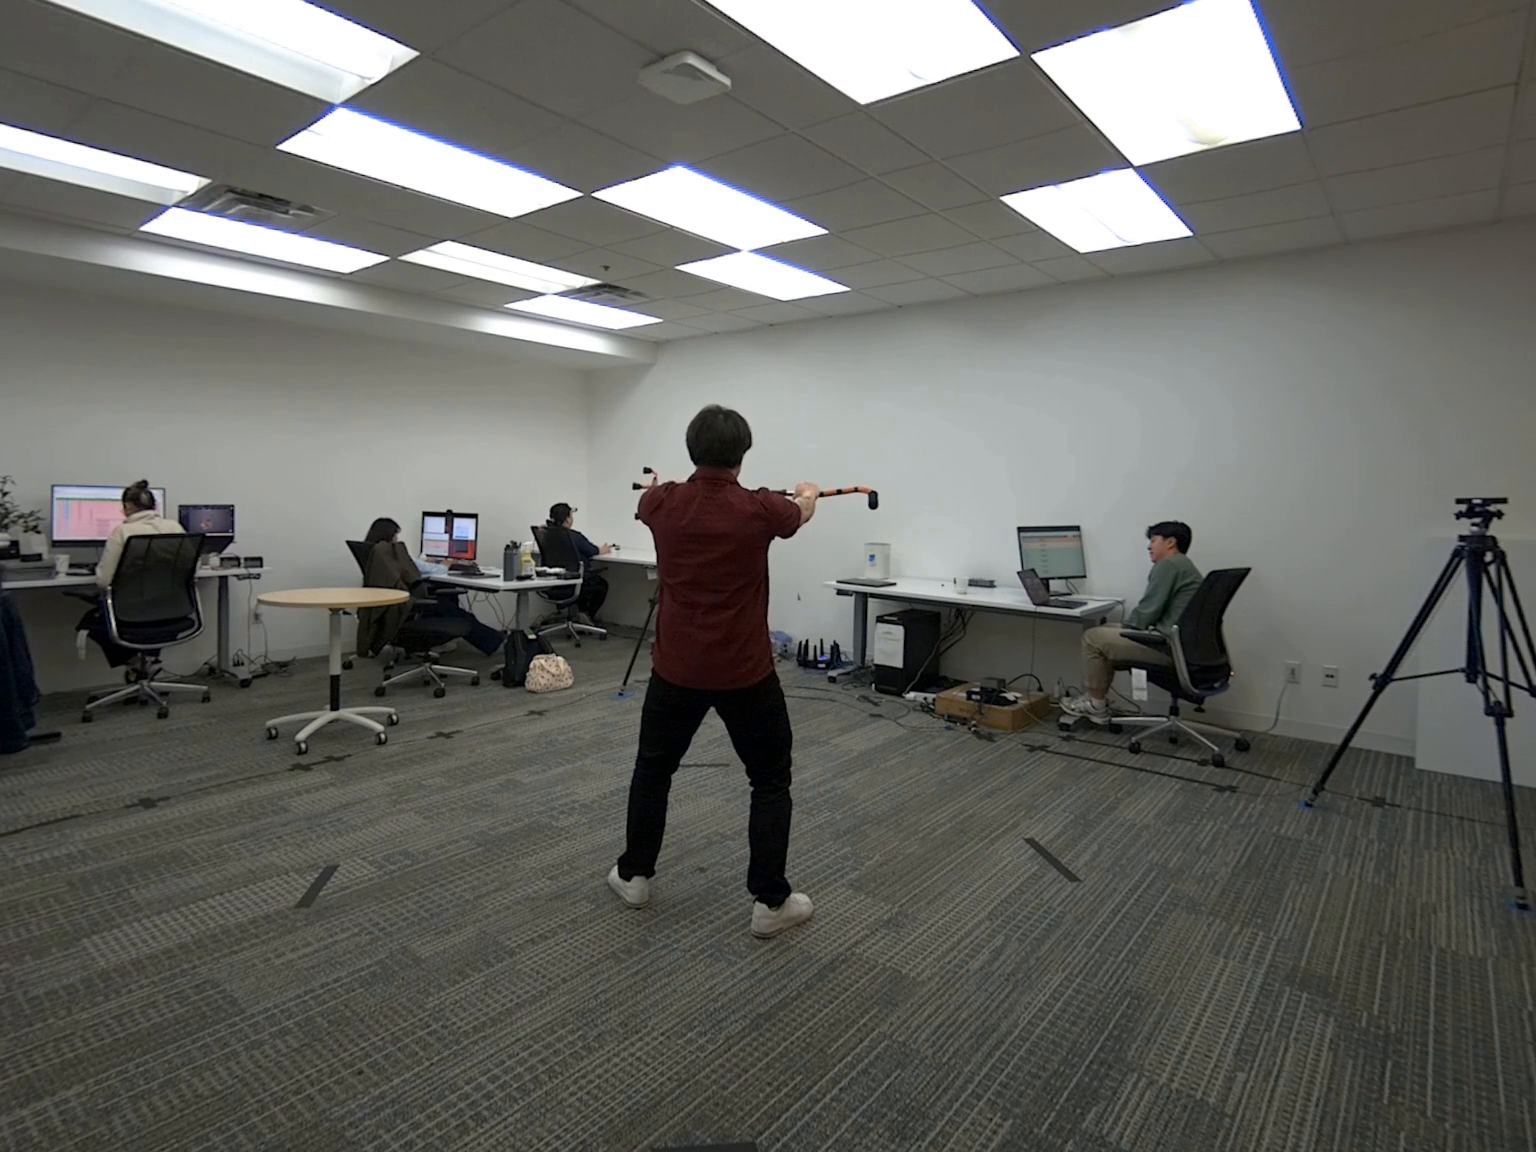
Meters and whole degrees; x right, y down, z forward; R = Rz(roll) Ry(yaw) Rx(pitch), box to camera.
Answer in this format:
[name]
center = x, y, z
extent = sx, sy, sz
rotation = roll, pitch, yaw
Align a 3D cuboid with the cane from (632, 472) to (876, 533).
[cane]
center = -0.053, -0.291, 3.233
extent = 0.918, 0.148, 0.208
rotation = 2, 23, 9
